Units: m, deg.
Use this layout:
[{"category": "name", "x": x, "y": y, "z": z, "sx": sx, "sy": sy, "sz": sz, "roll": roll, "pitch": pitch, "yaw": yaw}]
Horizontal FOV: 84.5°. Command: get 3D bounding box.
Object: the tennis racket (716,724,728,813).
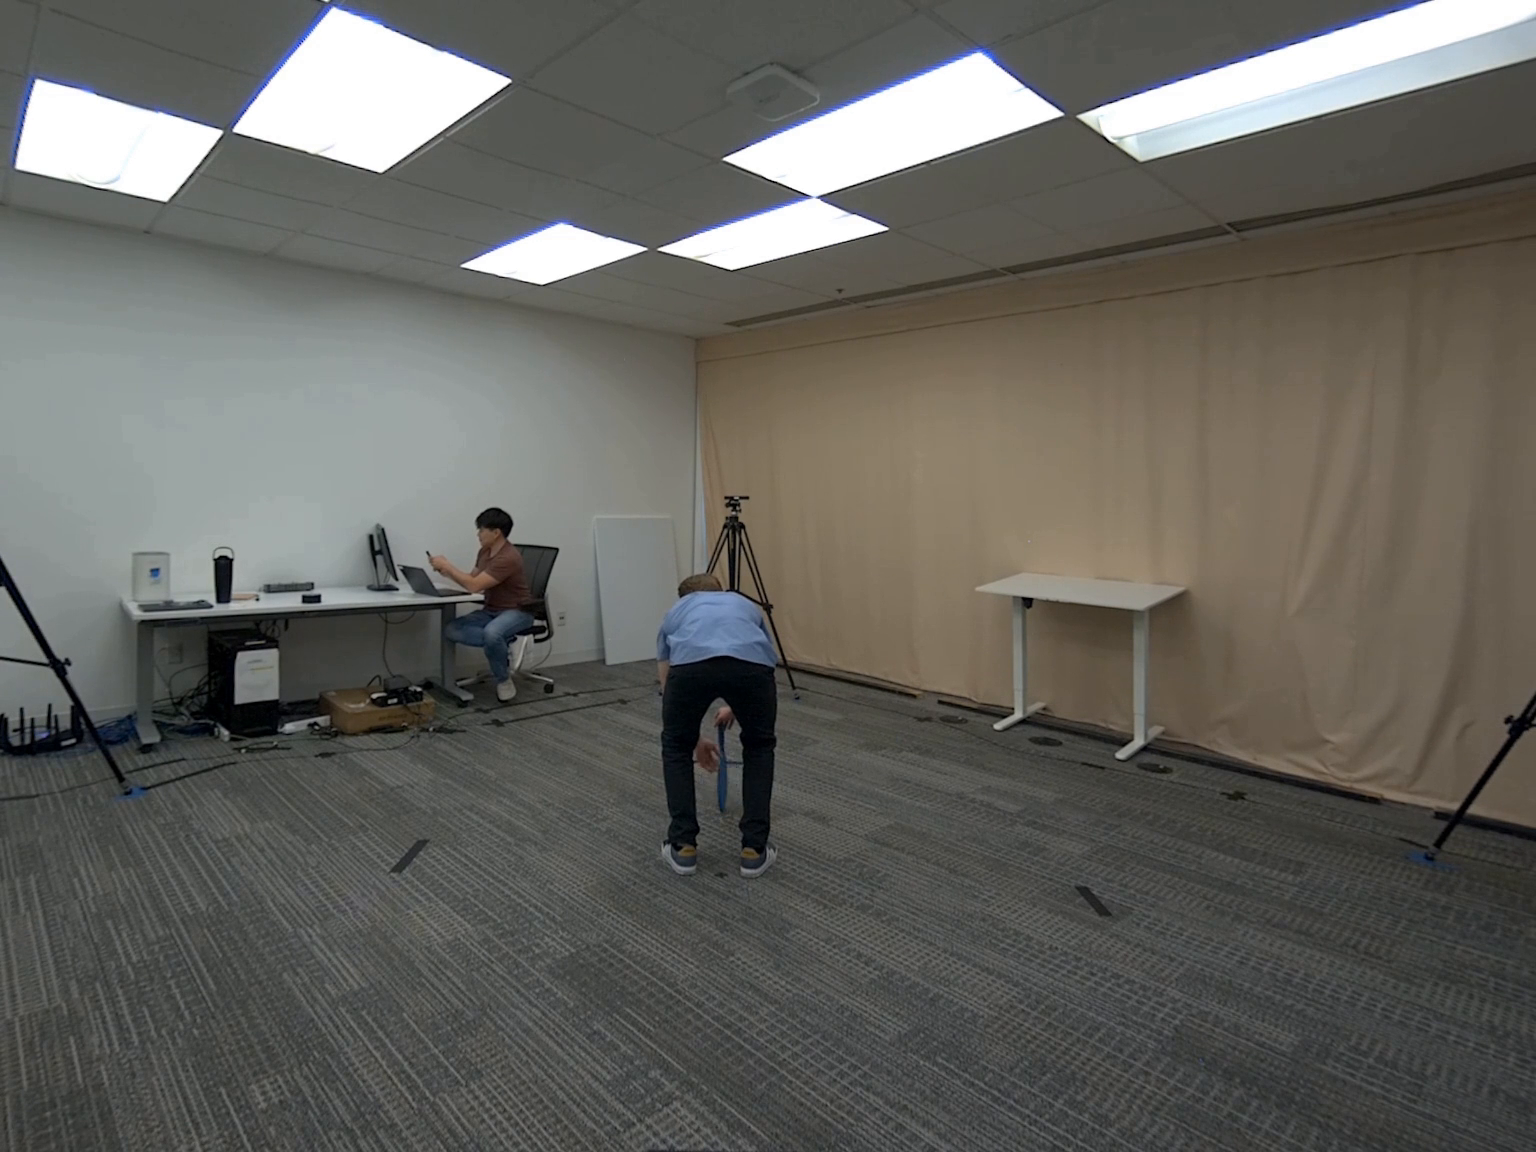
[{"category": "tennis racket", "x": -0.207, "y": 0.837, "z": 3.729, "sx": 0.032, "sy": 0.432, "sz": 0.212, "roll": -1, "pitch": 4, "yaw": 14}]
